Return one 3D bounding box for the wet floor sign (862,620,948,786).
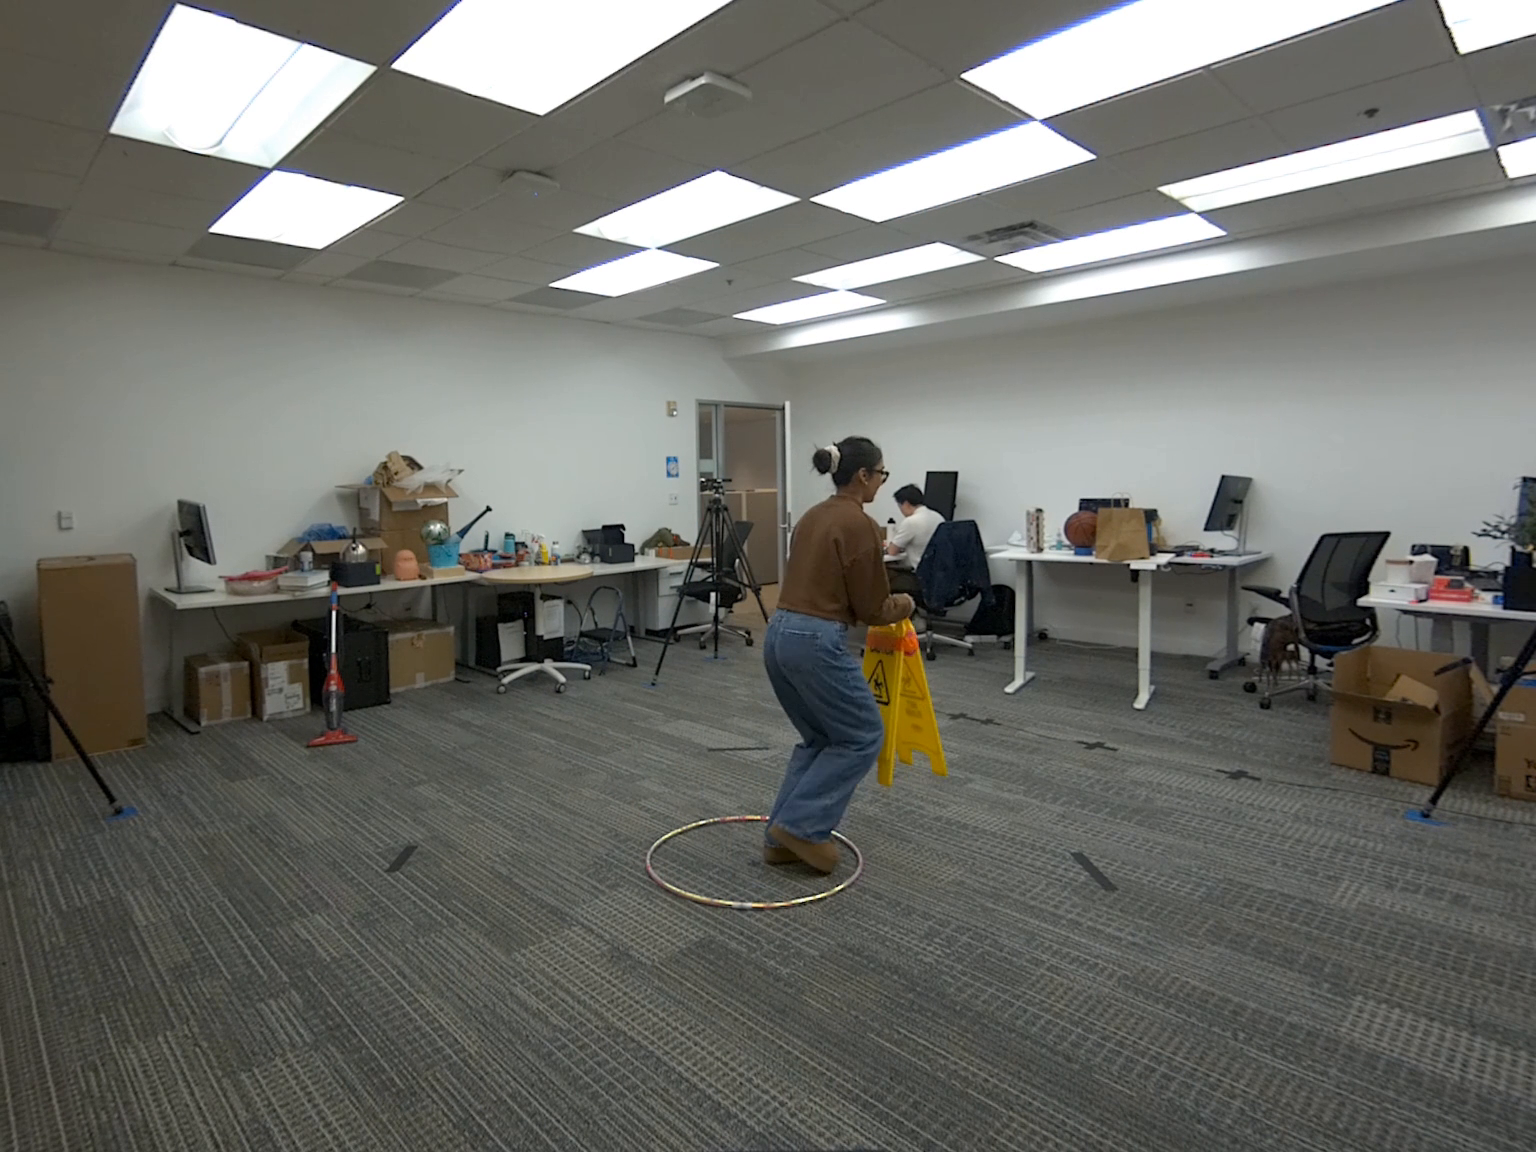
[{"bbox_3d":[0.485,0.411,3.256,0.283,0.646,0.288,-1,0,-27],"label":"wet floor sign"}]
